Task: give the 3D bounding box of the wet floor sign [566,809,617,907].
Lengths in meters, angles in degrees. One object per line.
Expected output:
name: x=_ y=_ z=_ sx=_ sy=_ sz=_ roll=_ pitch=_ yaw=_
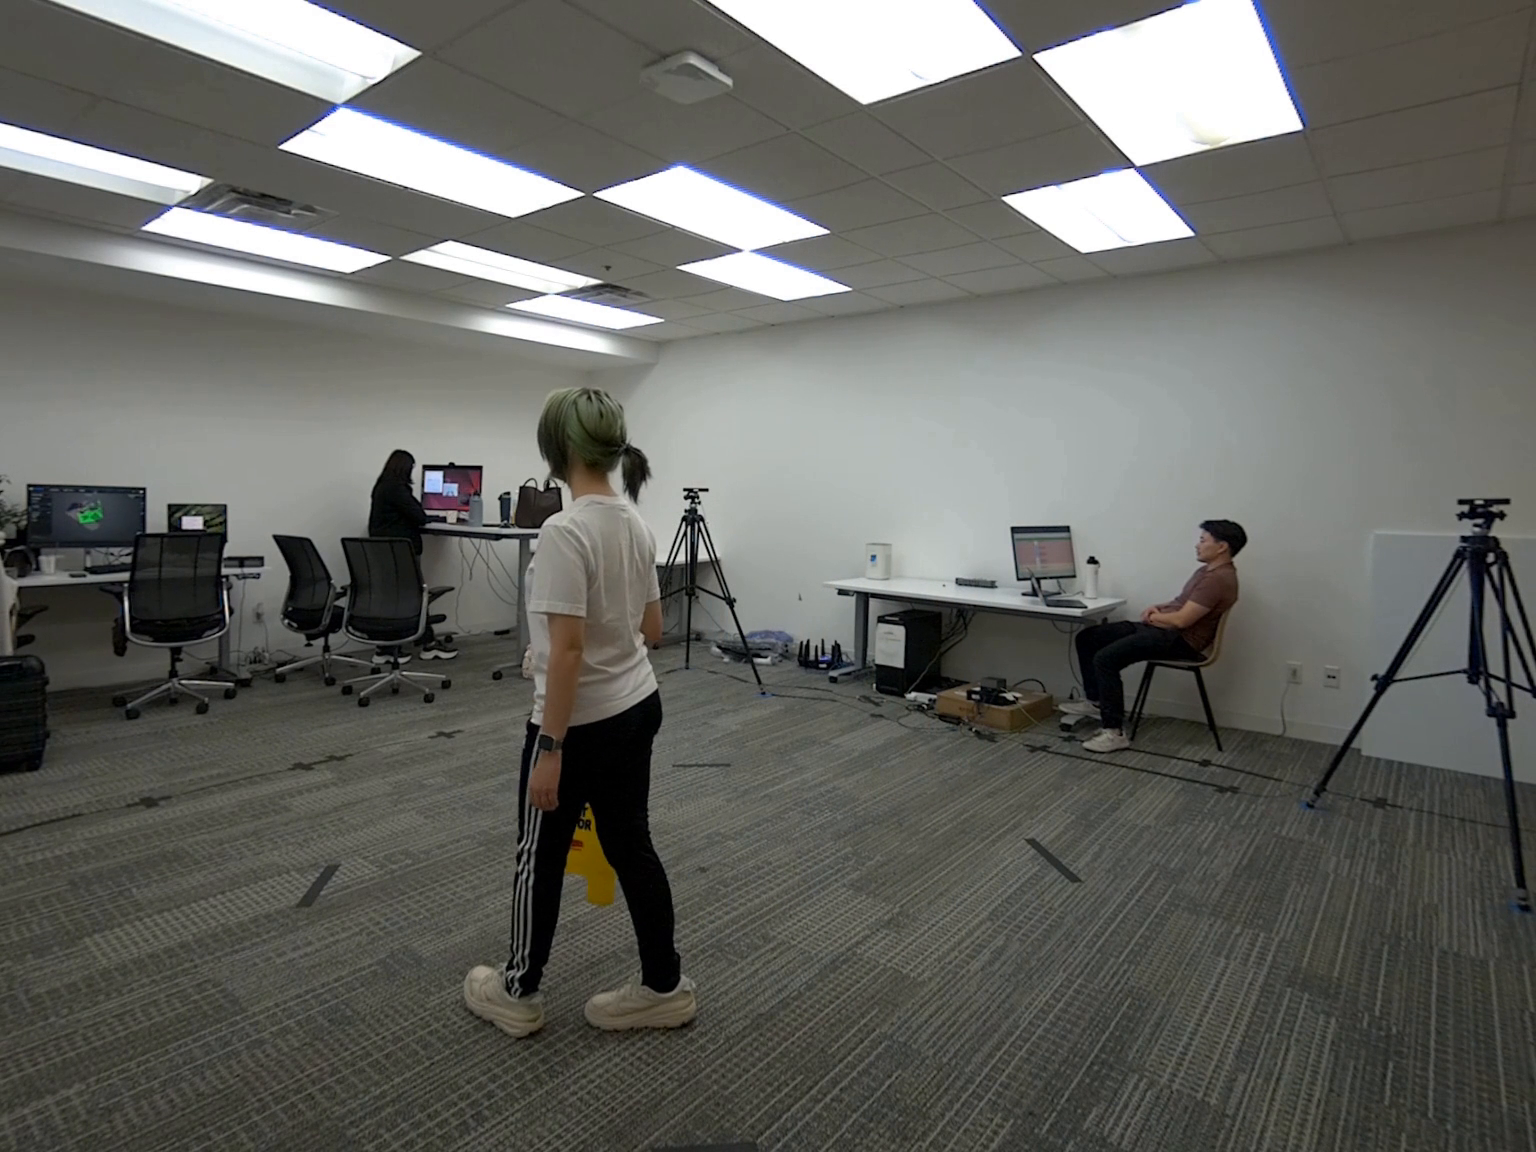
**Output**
wet floor sign: x=-0.551 y=0.594 z=2.528 sx=0.283 sy=0.644 sz=0.290 roll=8 pitch=5 yaw=1
